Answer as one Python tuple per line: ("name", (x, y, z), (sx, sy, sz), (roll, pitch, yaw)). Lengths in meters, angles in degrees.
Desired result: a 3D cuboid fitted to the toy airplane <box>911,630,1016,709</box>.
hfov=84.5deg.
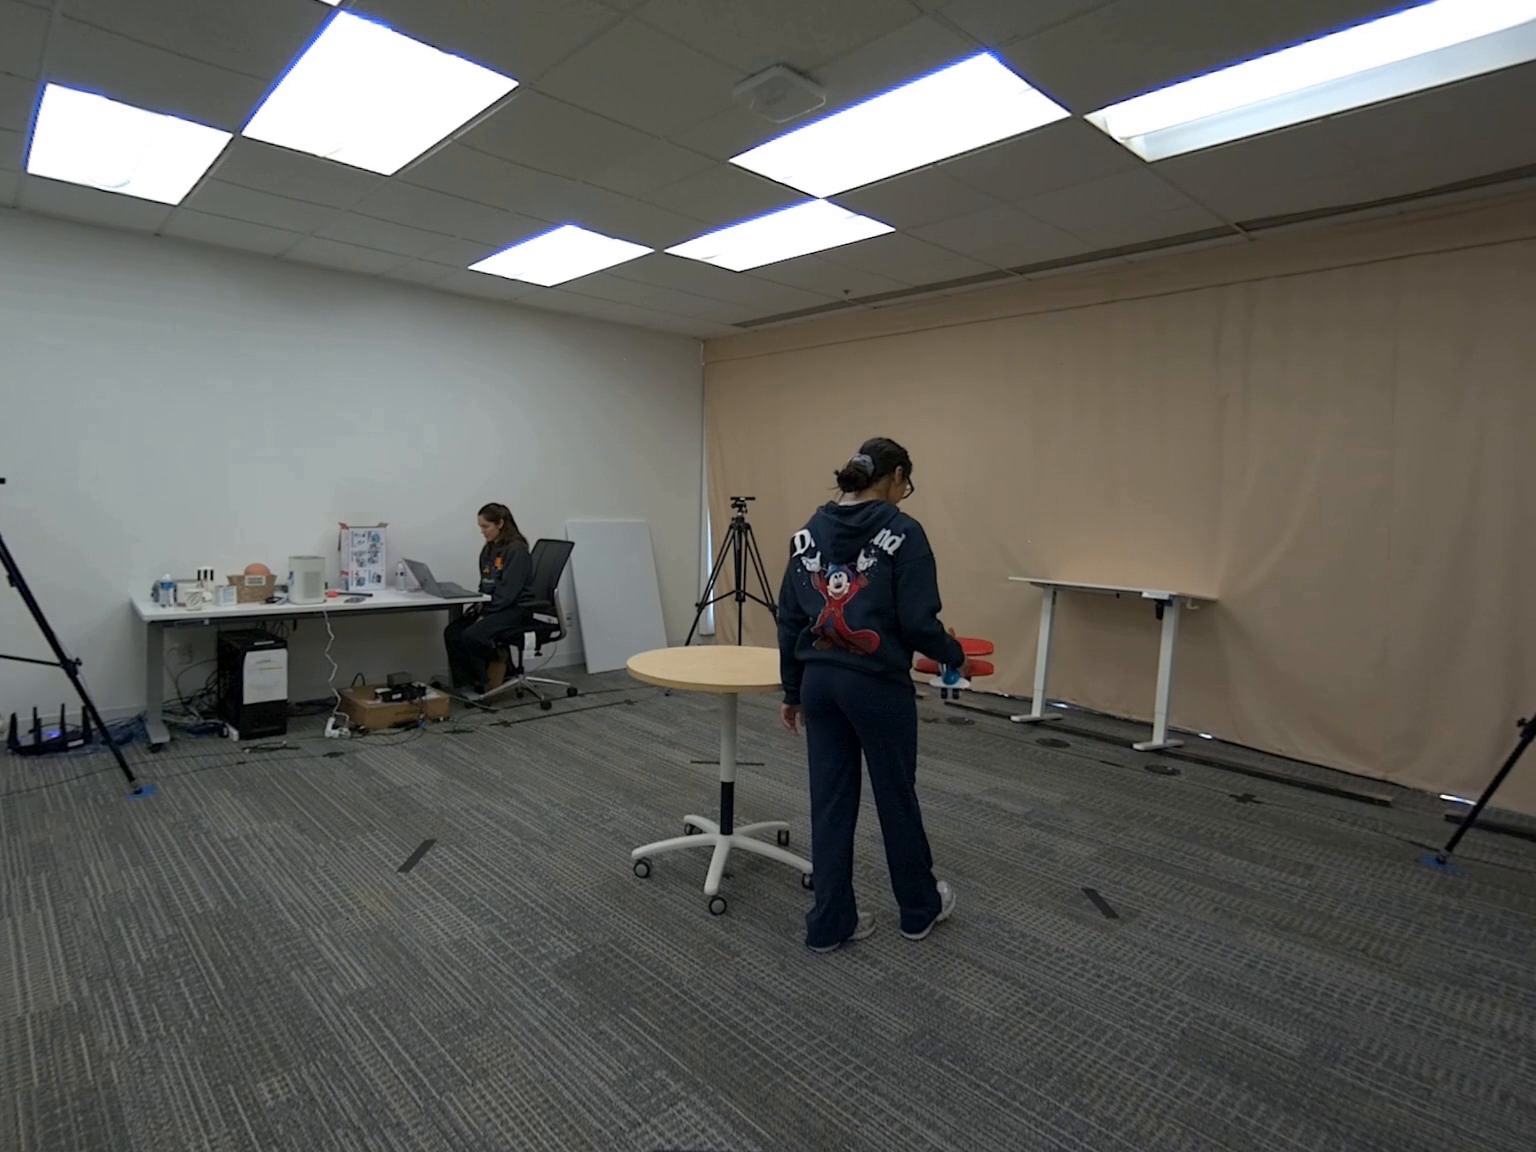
("toy airplane", (0.613, 0.293, 2.723), (0.249, 0.155, 0.263), (-5, 11, -12))
